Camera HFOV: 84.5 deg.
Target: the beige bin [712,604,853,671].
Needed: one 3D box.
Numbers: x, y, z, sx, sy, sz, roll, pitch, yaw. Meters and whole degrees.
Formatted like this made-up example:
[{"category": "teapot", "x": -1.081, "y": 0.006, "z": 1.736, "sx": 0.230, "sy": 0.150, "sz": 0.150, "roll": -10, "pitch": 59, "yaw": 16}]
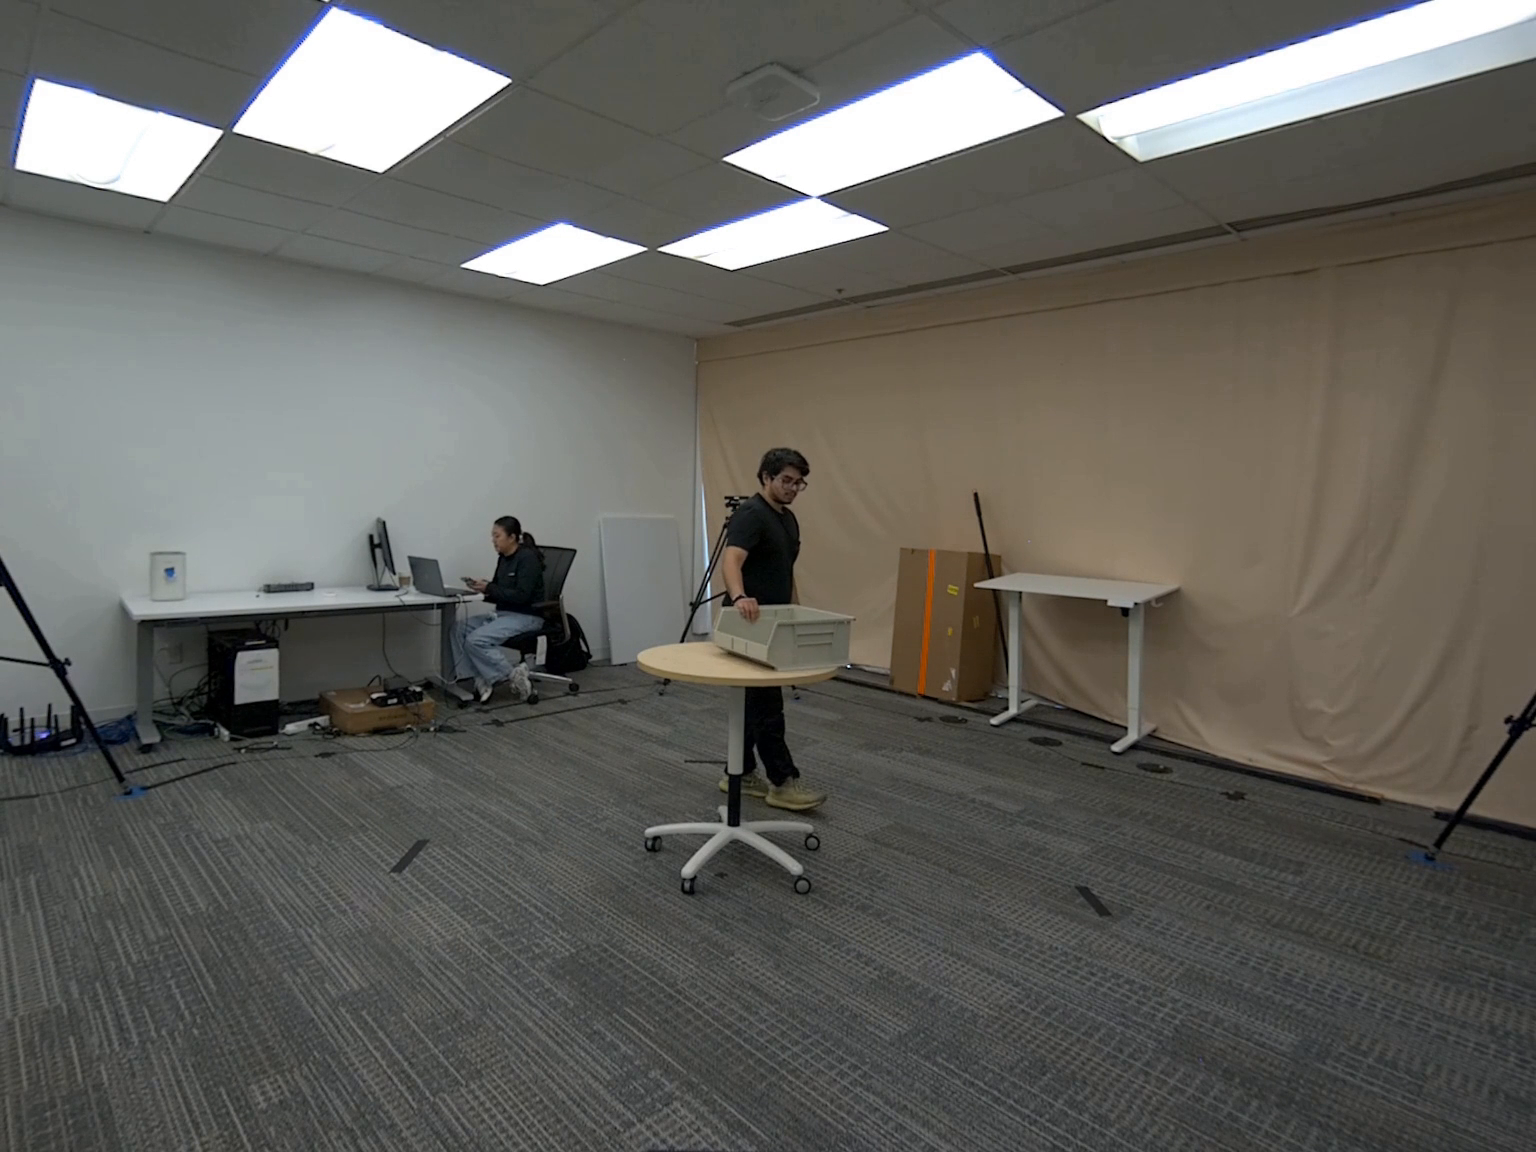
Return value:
[{"category": "beige bin", "x": 0.038, "y": 0.228, "z": 3.181, "sx": 0.369, "sy": 0.188, "sz": 0.432, "roll": 1, "pitch": 4, "yaw": -31}]
